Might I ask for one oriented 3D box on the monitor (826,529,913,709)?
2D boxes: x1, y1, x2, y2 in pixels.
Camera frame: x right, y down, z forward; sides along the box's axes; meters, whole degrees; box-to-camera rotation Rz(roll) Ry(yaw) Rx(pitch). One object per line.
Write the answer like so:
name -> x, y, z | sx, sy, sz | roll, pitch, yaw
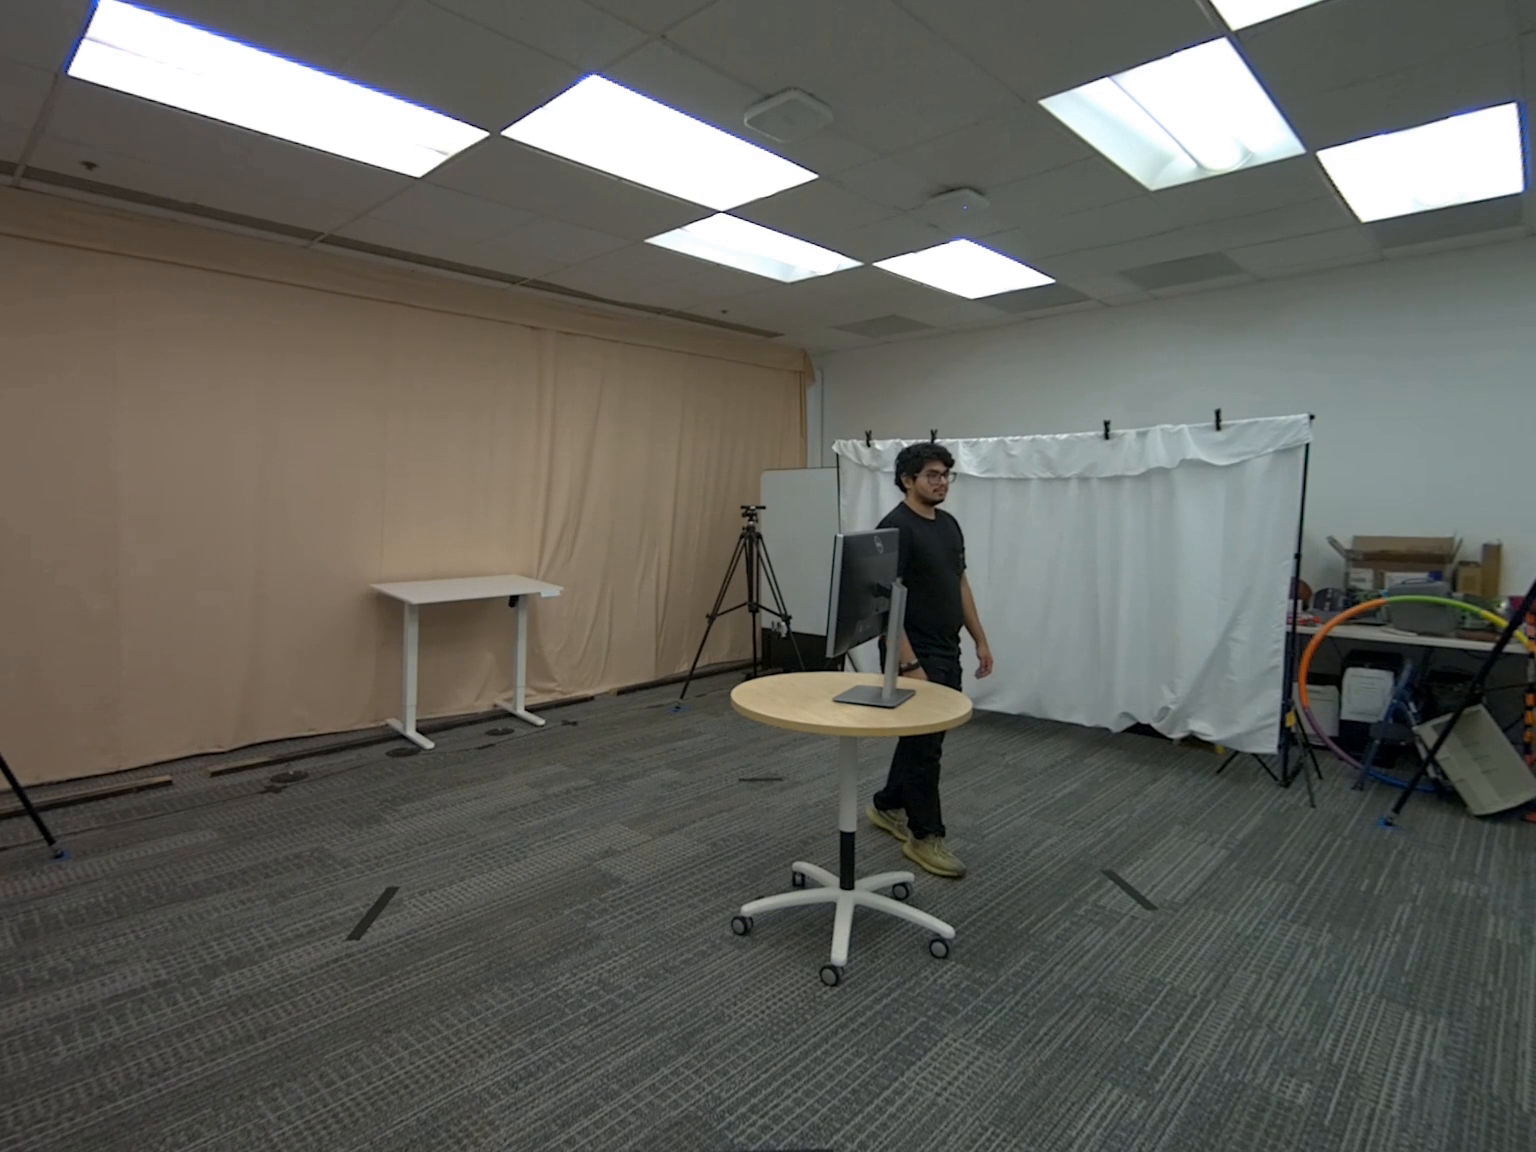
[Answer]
monitor -> 0.372, 0.131, 2.667 | 0.216, 0.552, 0.551 | 5, 5, 27
